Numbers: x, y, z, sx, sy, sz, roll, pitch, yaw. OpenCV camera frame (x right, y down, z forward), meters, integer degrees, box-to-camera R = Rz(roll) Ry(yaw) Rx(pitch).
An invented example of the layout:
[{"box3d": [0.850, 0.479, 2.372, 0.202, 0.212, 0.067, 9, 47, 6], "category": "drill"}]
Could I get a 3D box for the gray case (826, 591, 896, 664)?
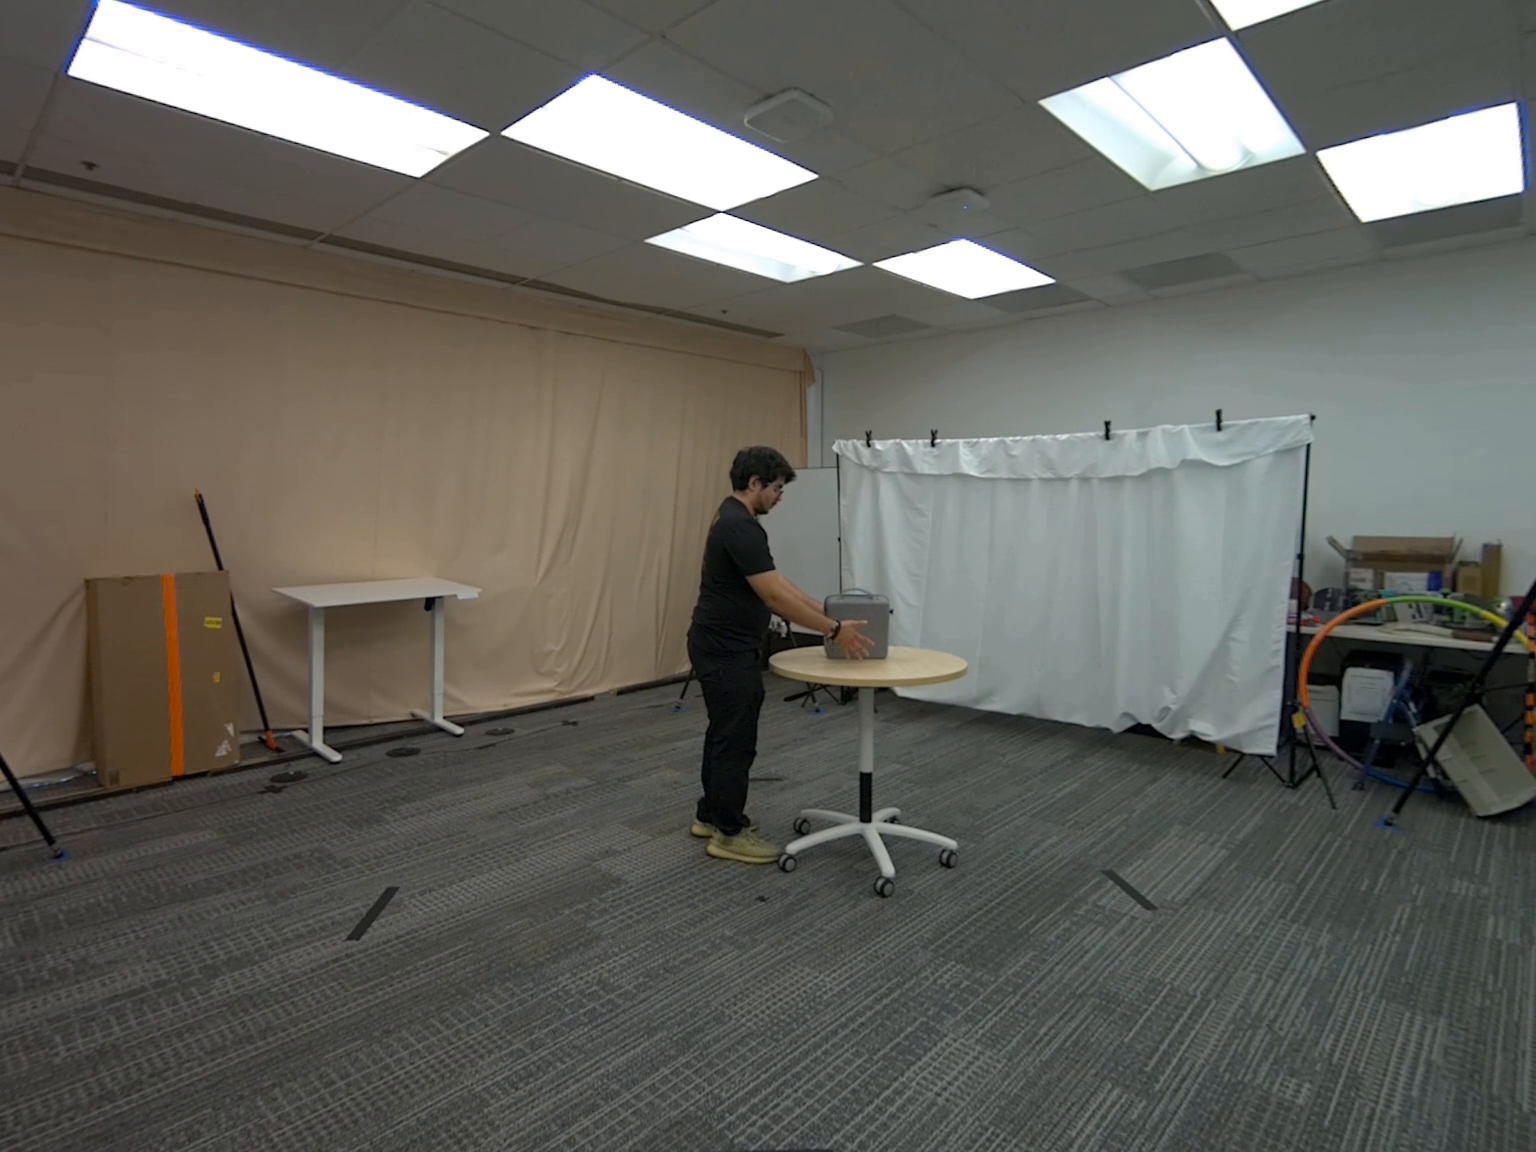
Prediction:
[{"box3d": [0.362, 0.201, 3.336, 0.258, 0.258, 0.105, -1, 14, 4], "category": "gray case"}]
